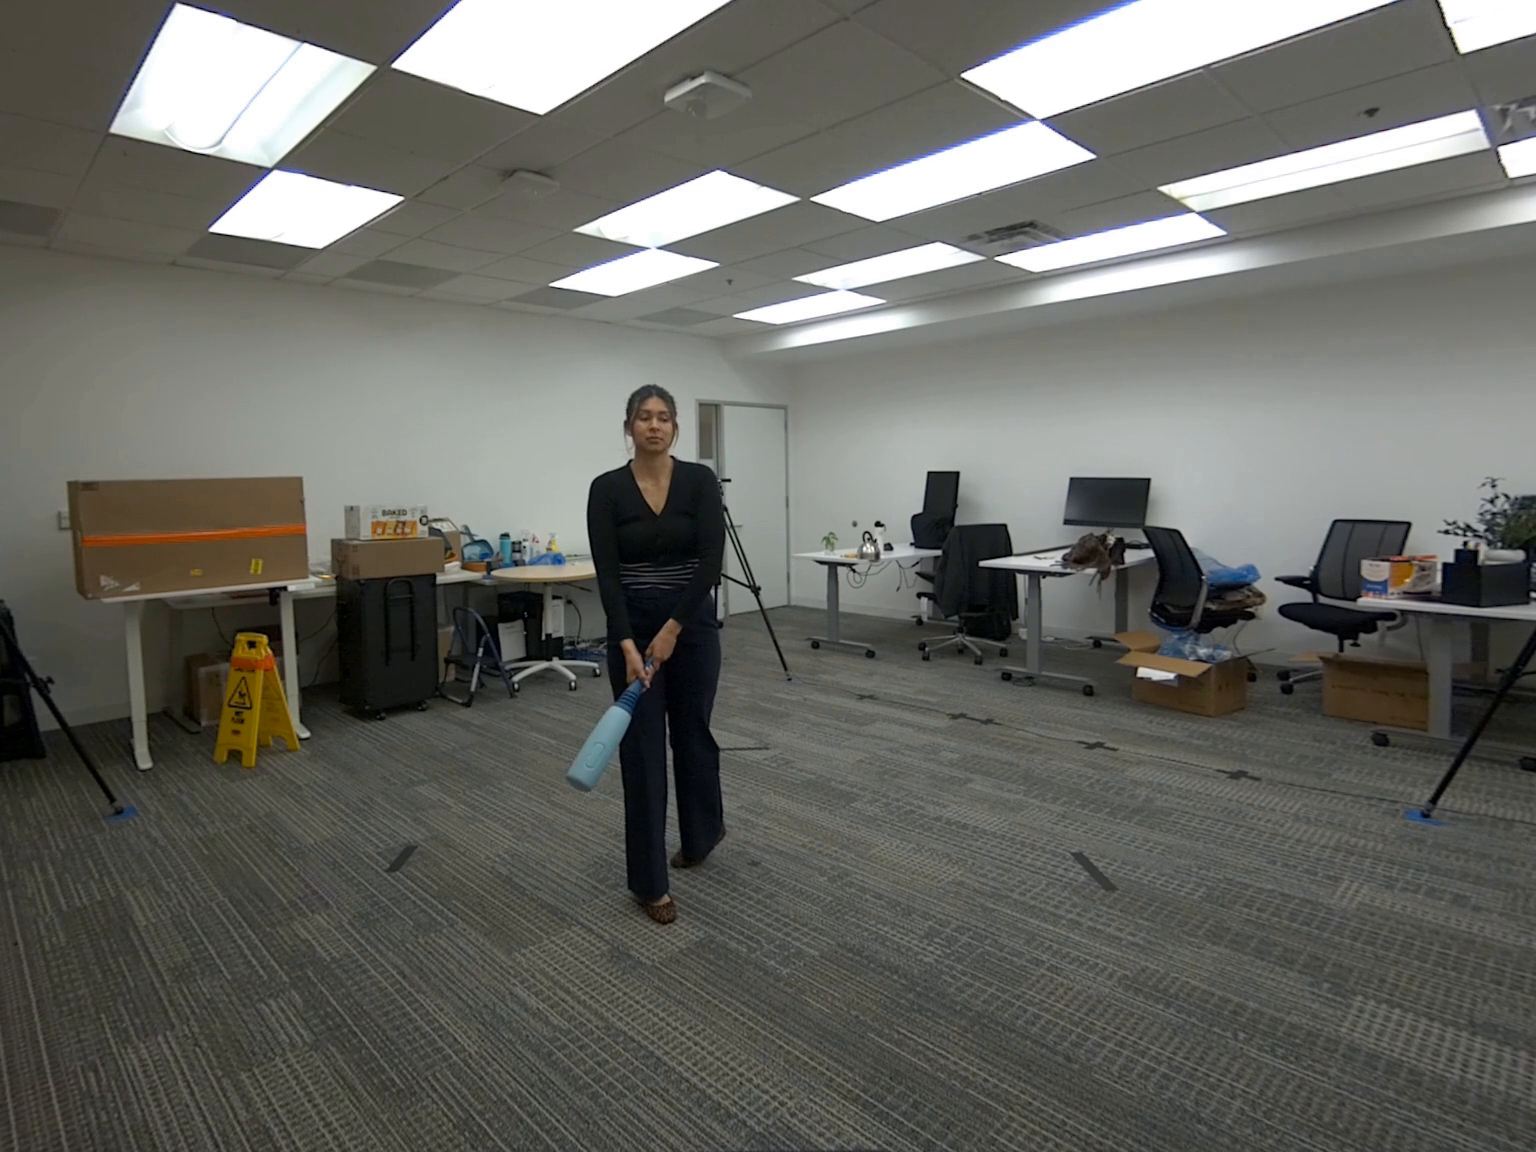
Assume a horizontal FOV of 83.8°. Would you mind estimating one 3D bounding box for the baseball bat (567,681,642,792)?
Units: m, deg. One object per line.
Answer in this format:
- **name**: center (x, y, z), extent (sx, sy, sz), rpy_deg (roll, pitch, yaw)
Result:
- **baseball bat**: center (-0.428, 0.389, 2.543), extent (0.091, 0.086, 0.547), rpy_deg (2, 48, 36)
